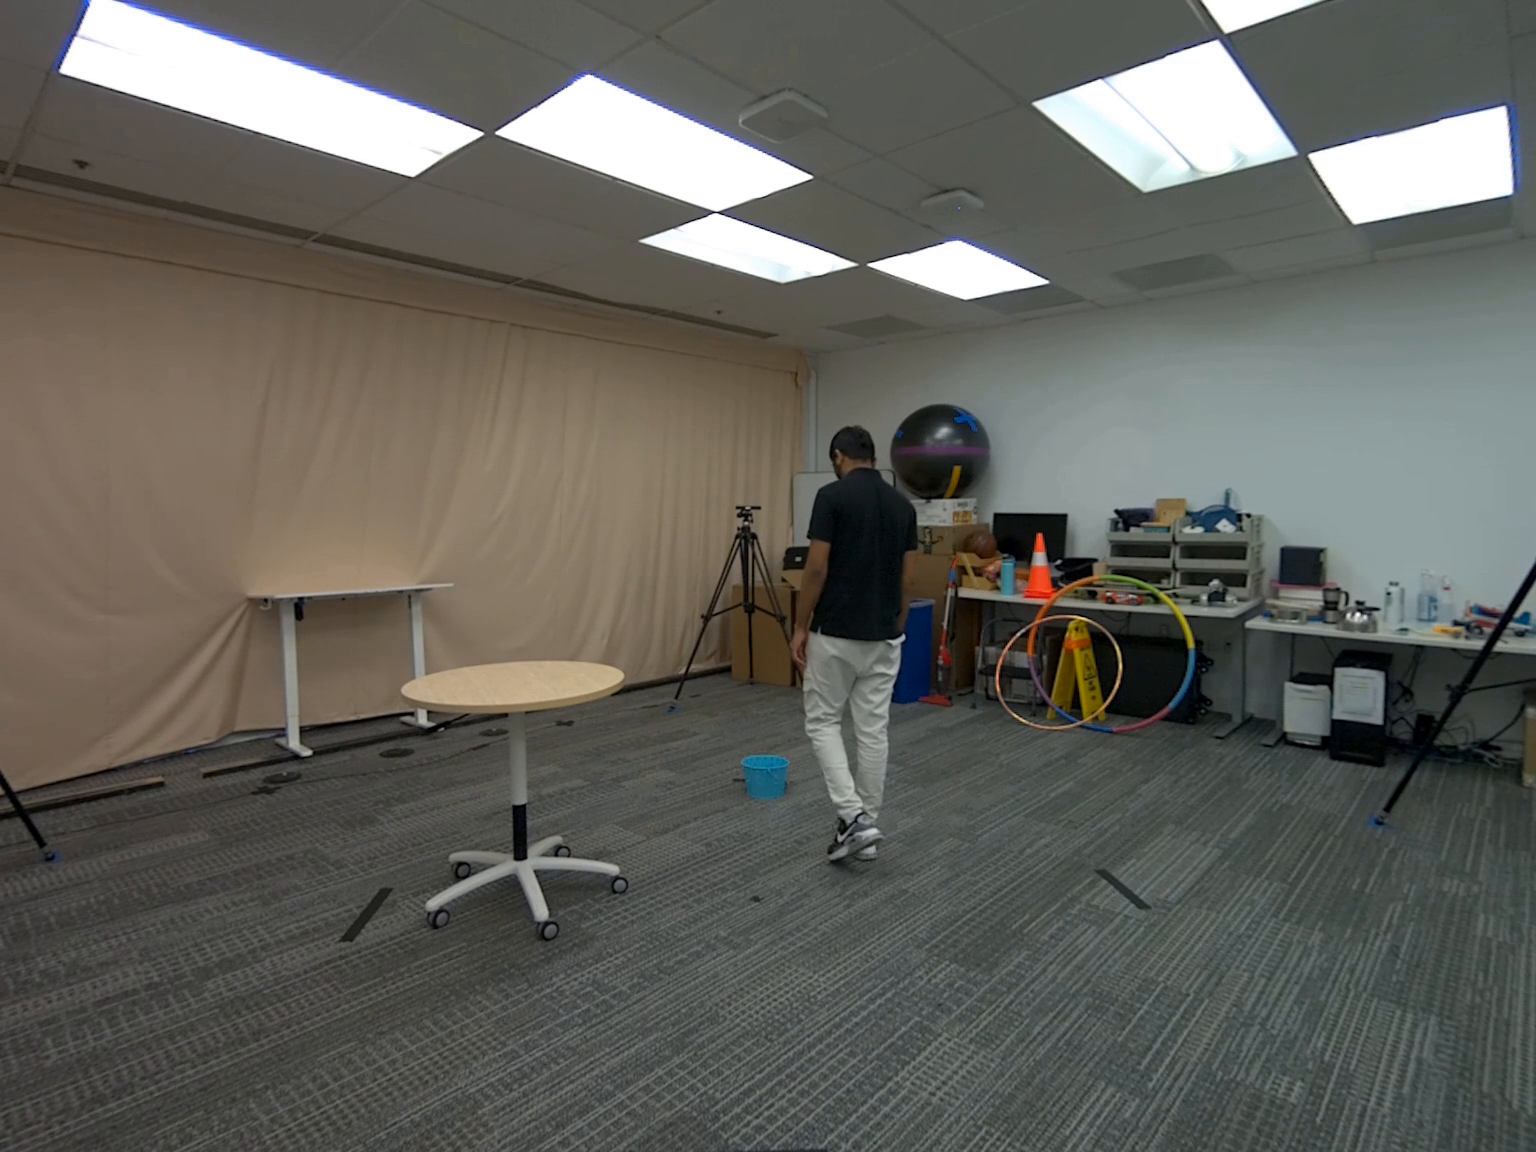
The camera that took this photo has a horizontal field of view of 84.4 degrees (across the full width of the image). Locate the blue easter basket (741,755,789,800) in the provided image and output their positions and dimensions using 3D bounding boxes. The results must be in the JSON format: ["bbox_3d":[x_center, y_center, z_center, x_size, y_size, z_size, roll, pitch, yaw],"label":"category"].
[{"bbox_3d":[-0.013,0.975,4.095,0.243,0.155,0.244,-1,4,-2],"label":"blue easter basket"}]
